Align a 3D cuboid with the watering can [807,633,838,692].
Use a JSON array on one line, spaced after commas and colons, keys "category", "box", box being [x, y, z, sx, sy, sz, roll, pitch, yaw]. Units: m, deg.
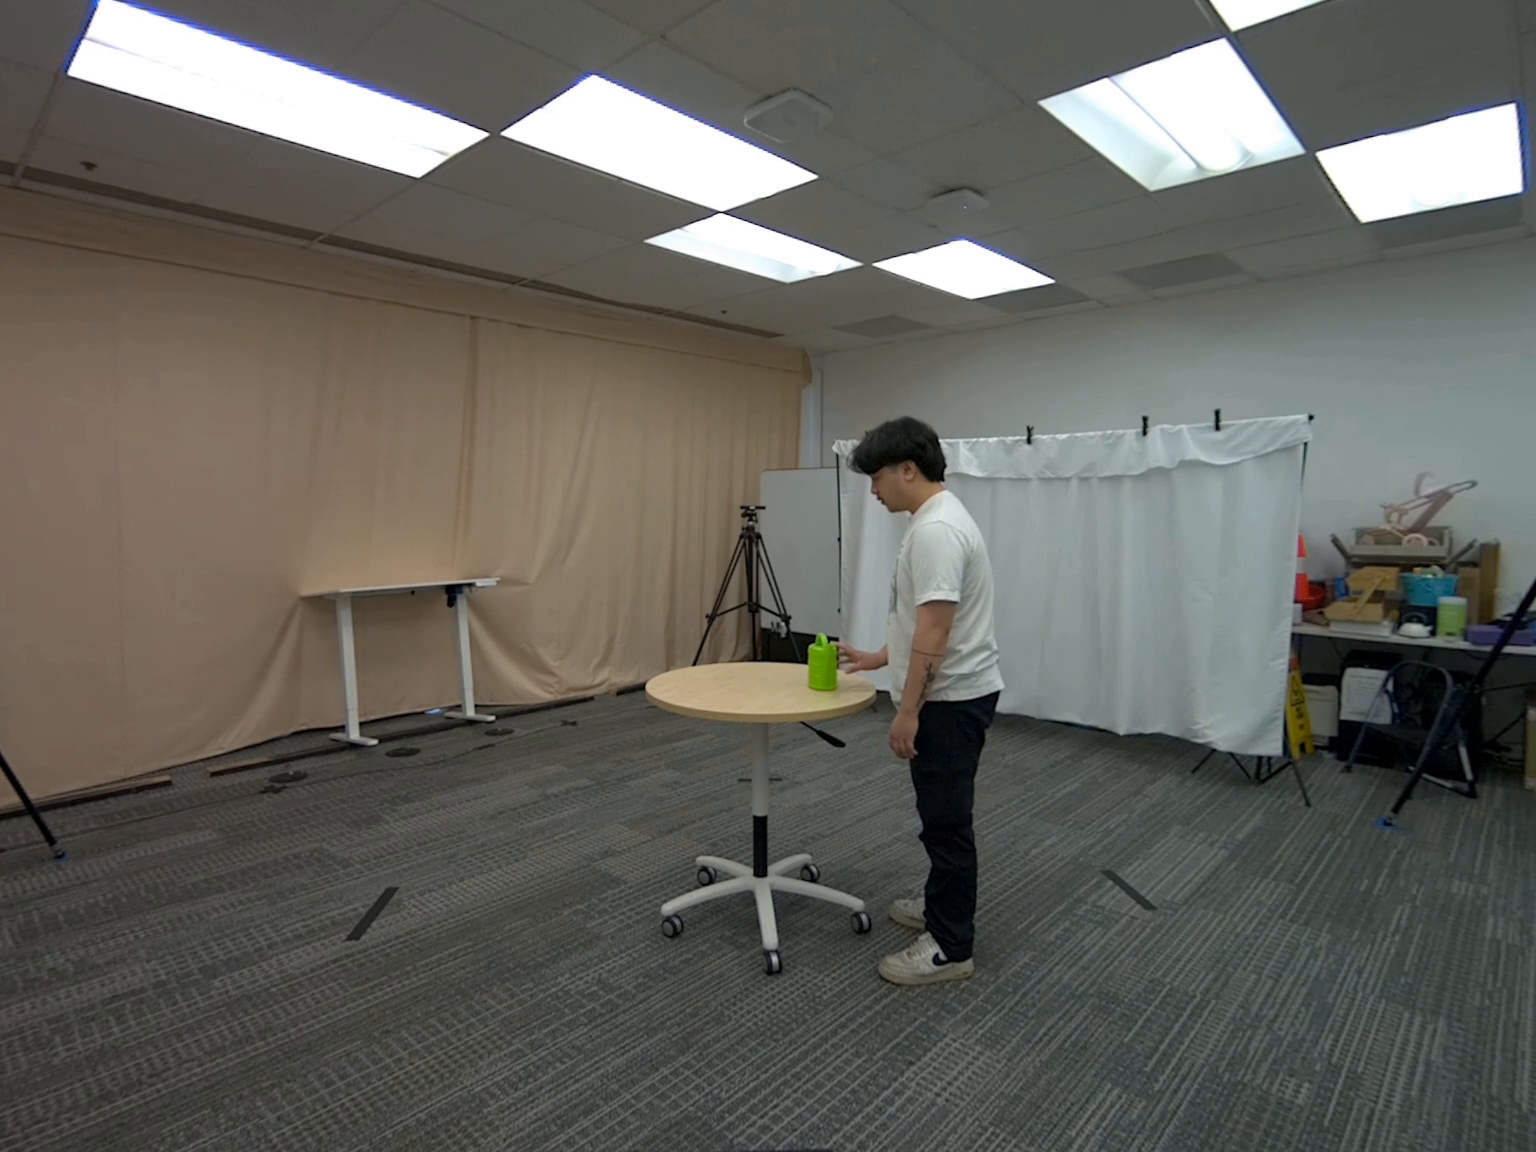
[{"category": "watering can", "box": [0.187, 0.291, 2.734, 0.099, 0.176, 0.277, 0, 3, 5]}]
